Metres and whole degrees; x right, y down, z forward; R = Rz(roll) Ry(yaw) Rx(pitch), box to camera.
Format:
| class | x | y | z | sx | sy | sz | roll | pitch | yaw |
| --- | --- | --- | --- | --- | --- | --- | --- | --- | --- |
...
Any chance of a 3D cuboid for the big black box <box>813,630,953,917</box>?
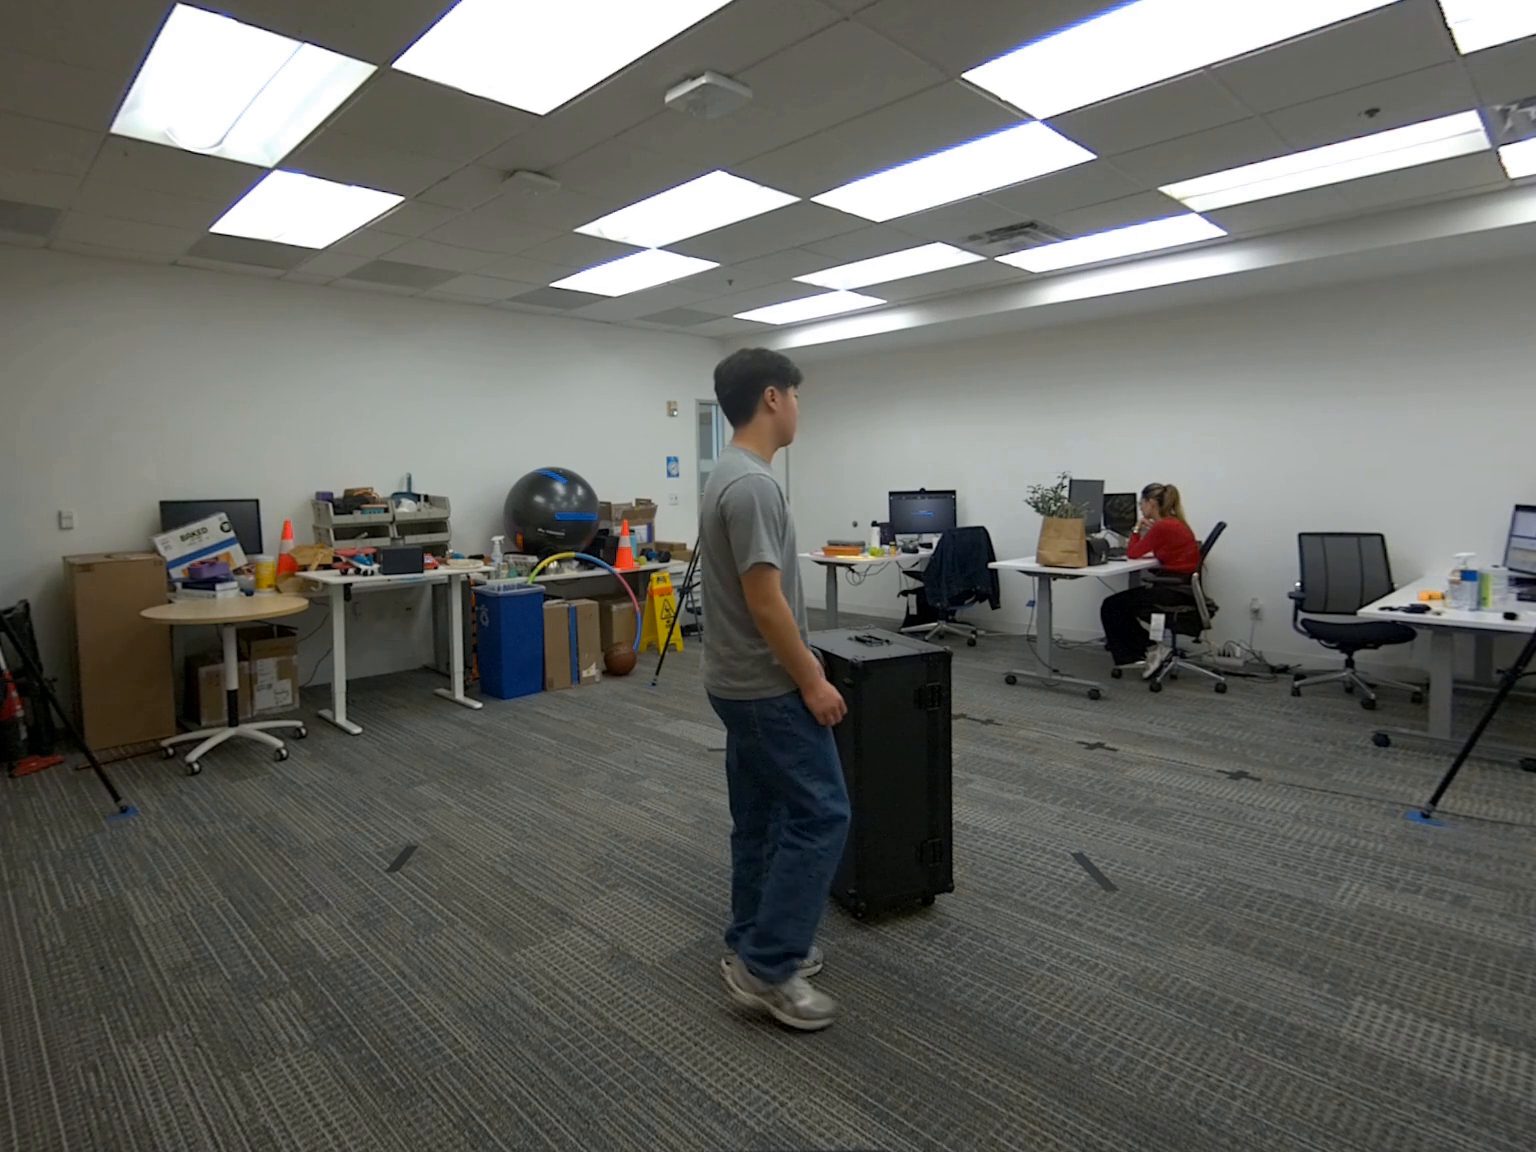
| class | x | y | z | sx | sy | sz | roll | pitch | yaw |
| --- | --- | --- | --- | --- | --- | --- | --- | --- | --- |
| big black box | 0.326 | 0.640 | 2.853 | 0.389 | 0.858 | 0.533 | -4 | 5 | -23 |
